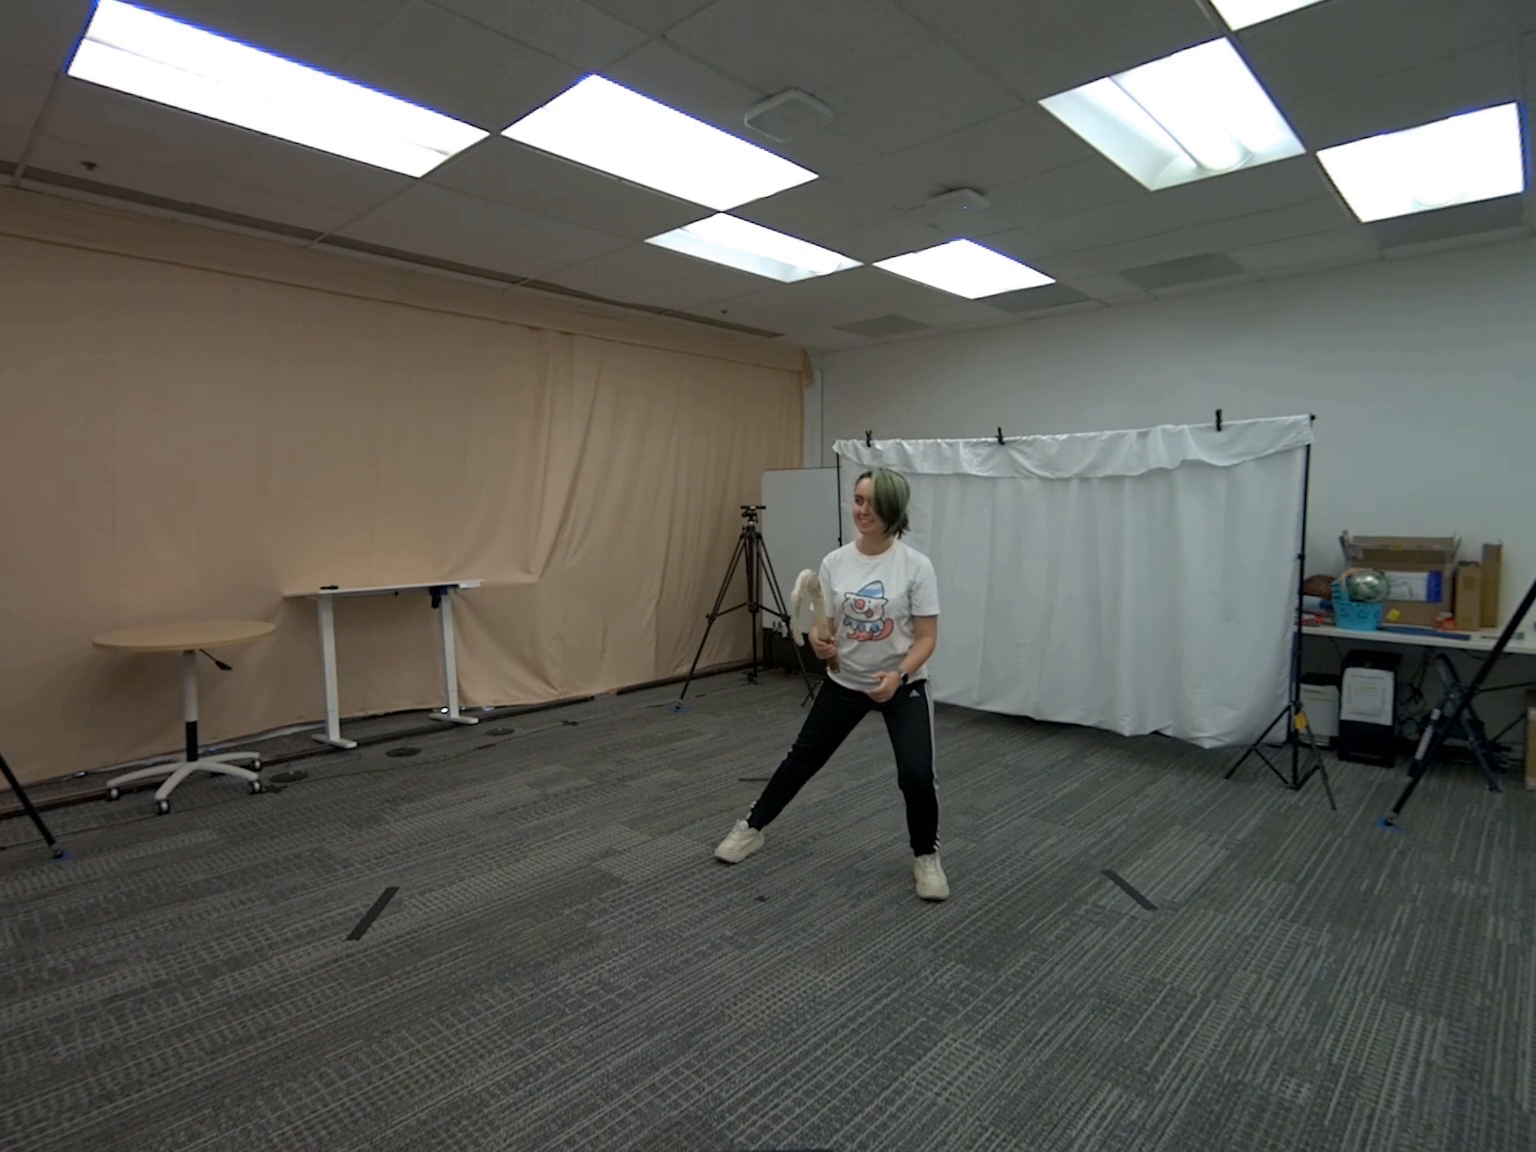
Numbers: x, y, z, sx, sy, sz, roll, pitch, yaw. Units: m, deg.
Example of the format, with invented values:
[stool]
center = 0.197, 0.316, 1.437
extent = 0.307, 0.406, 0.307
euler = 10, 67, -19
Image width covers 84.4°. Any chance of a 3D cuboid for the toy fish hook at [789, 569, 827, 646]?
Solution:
[toy fish hook]
center = 0.155, 0.202, 2.754
extent = 0.050, 0.492, 0.224
euler = 7, 47, 29
